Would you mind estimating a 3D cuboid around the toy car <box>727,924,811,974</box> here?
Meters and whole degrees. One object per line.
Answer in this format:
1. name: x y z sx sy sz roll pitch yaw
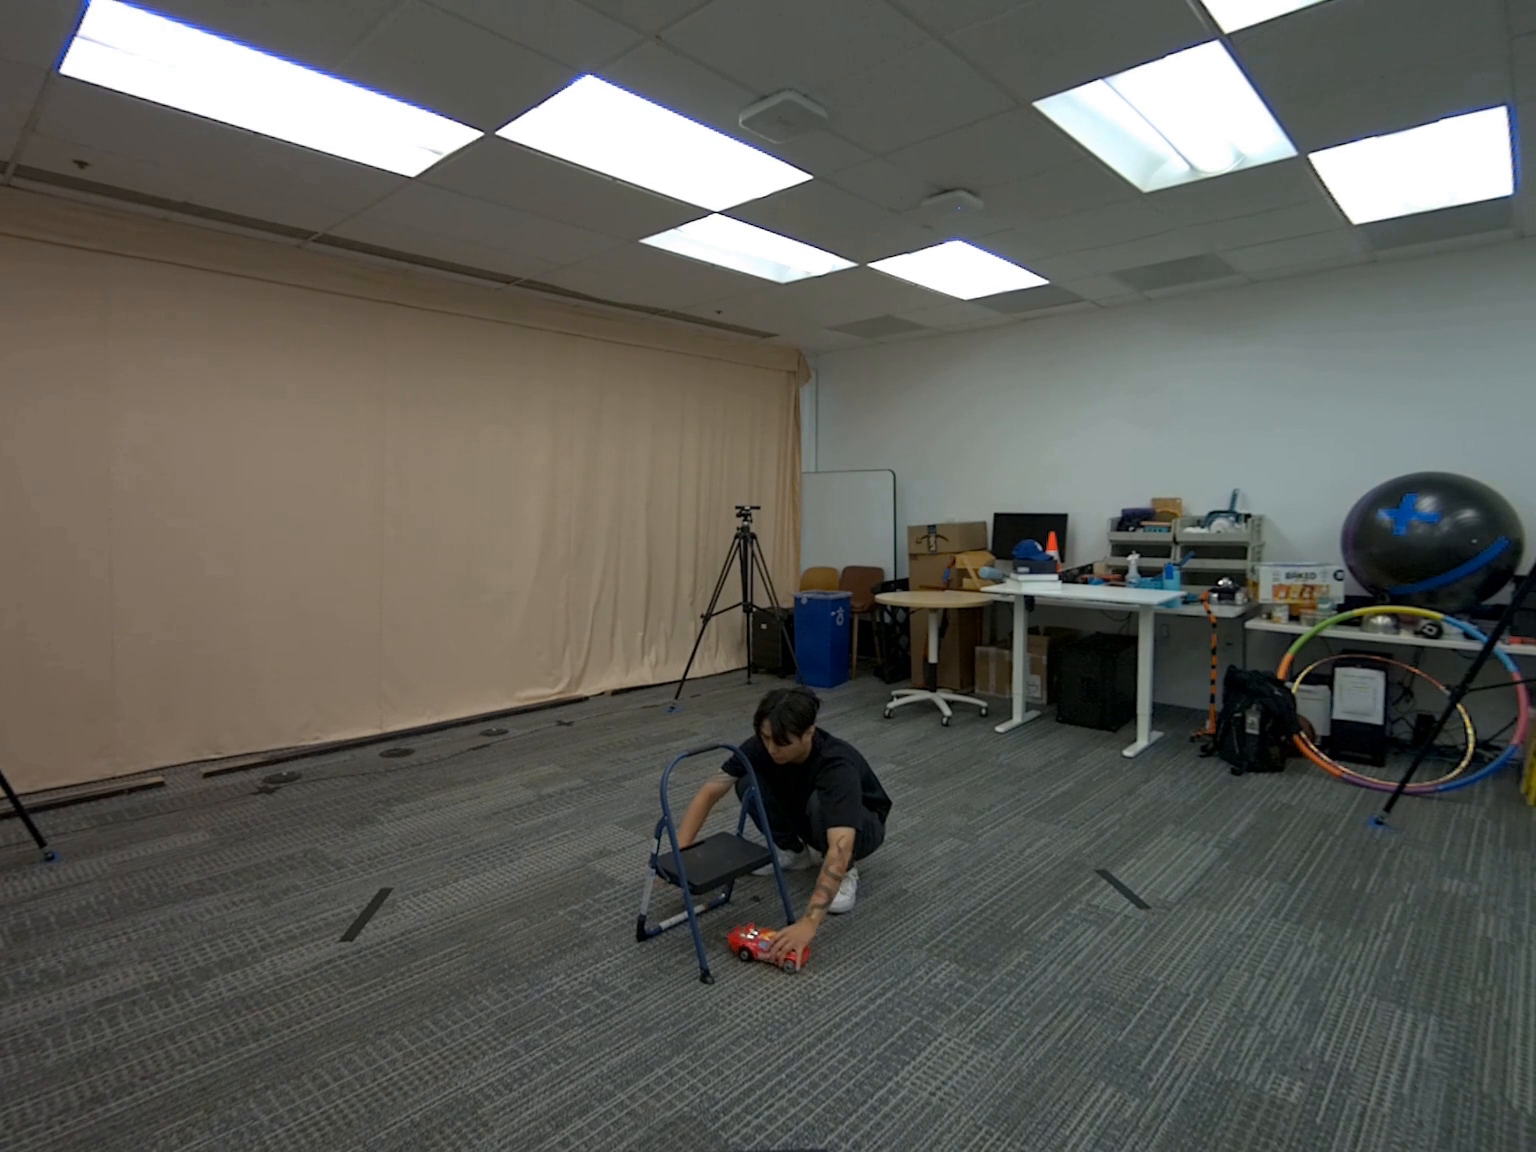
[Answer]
1. toy car: -0.009 1.143 2.603 0.261 0.083 0.127 15 11 24
